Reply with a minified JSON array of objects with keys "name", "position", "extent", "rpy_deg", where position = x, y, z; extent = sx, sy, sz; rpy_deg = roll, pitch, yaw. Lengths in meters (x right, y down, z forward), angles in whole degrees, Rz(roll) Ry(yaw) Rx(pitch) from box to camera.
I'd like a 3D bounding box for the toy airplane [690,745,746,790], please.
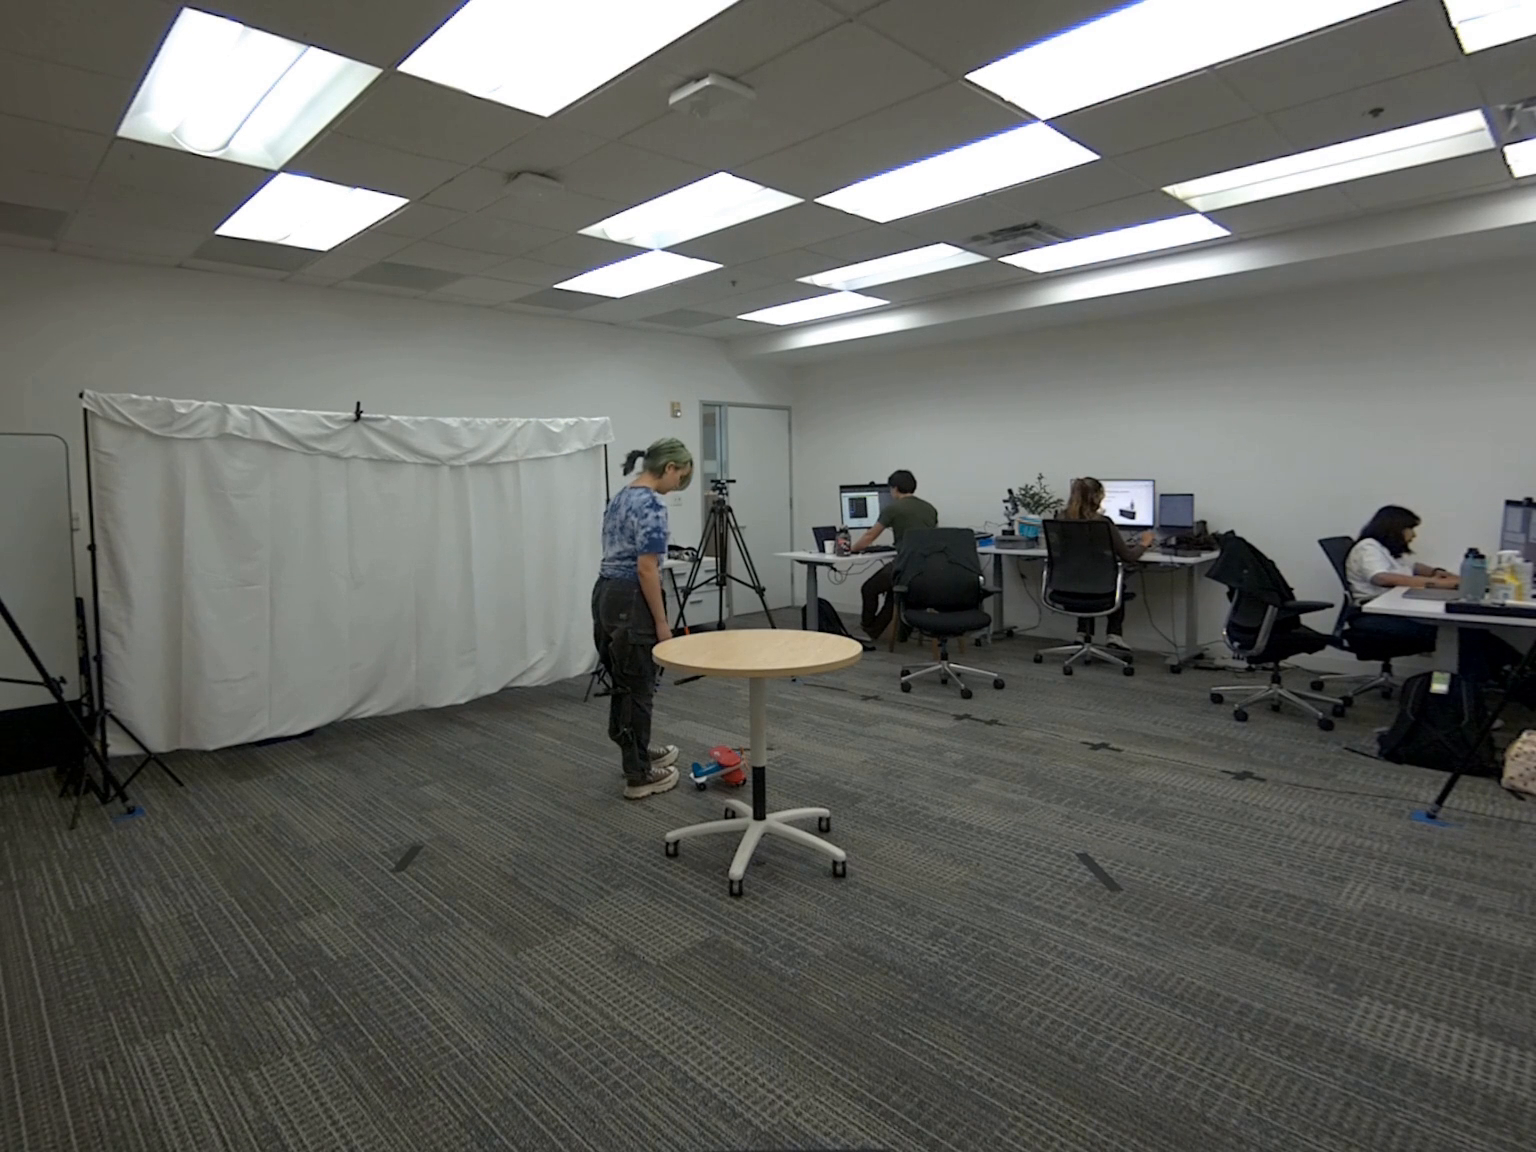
[{"name":"toy airplane","position":[-0.218,0.885,3.890],"extent":[0.258,0.156,0.252],"rpy_deg":[3,5,38]}]
